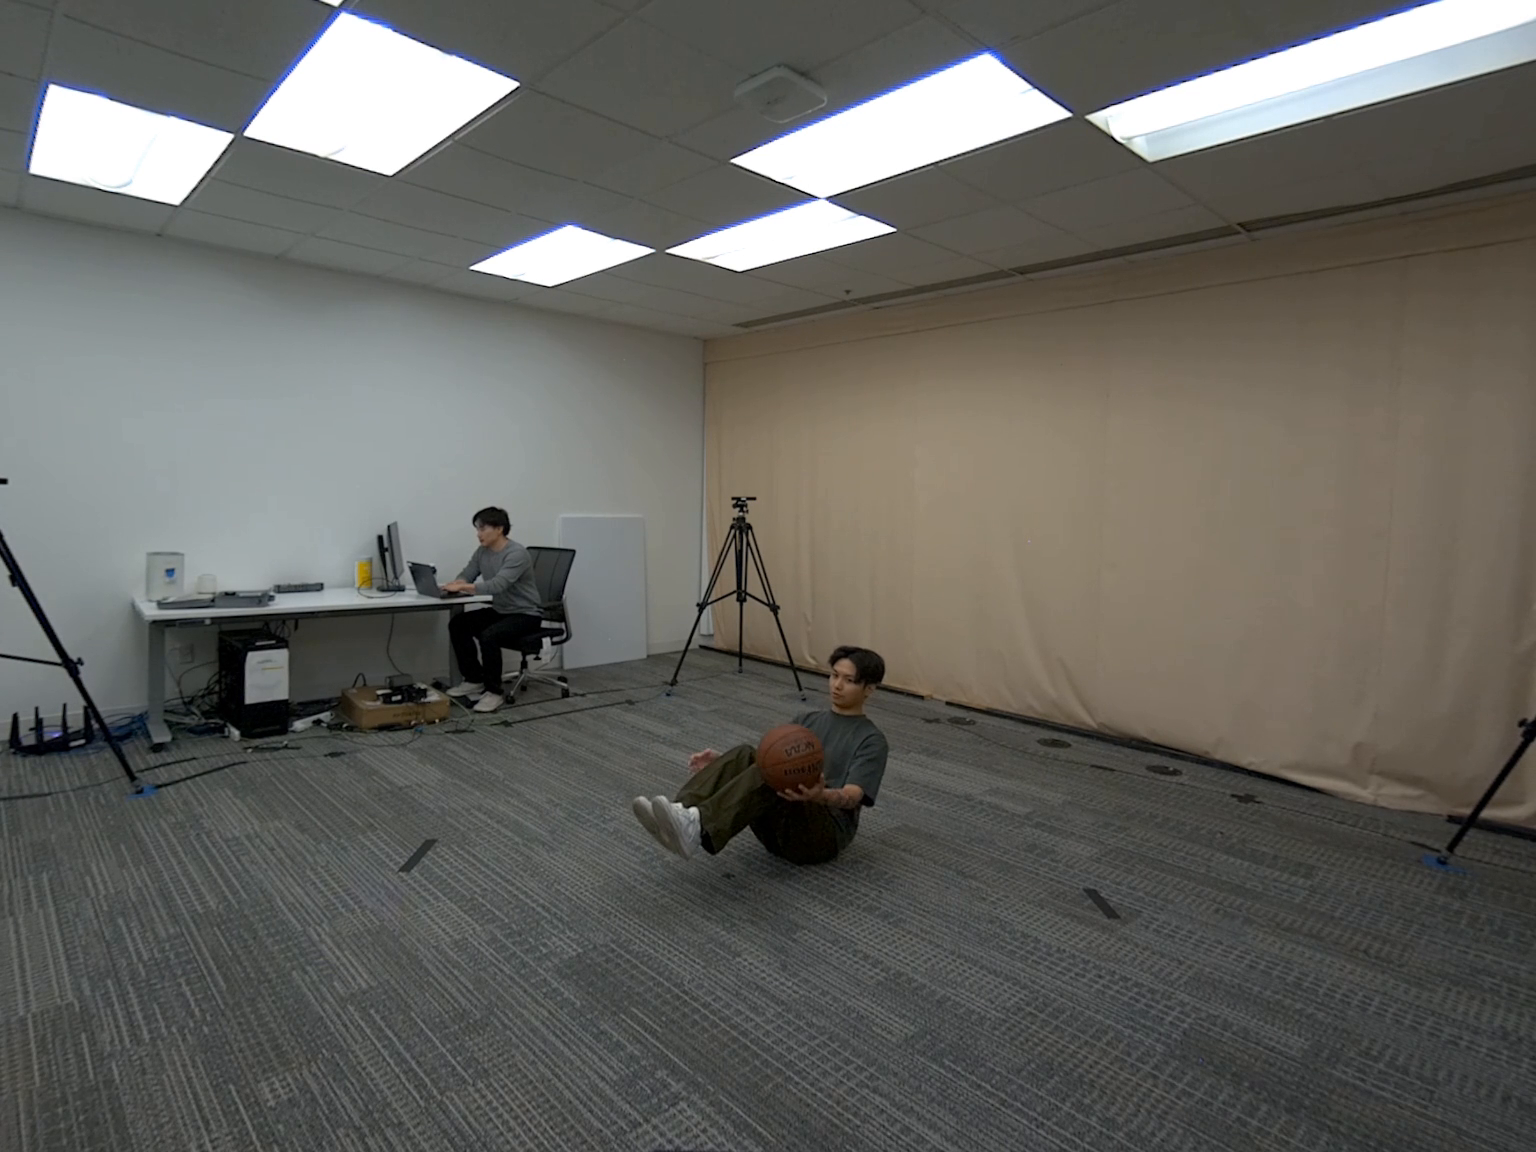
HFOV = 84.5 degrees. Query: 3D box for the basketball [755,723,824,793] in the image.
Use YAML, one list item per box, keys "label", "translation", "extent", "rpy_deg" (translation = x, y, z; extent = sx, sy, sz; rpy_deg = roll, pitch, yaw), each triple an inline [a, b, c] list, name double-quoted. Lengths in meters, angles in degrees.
- label: "basketball"
  translation: [0.065, 0.642, 2.923]
  extent: [0.236, 0.235, 0.237]
  rpy_deg: [1, 4, -1]
